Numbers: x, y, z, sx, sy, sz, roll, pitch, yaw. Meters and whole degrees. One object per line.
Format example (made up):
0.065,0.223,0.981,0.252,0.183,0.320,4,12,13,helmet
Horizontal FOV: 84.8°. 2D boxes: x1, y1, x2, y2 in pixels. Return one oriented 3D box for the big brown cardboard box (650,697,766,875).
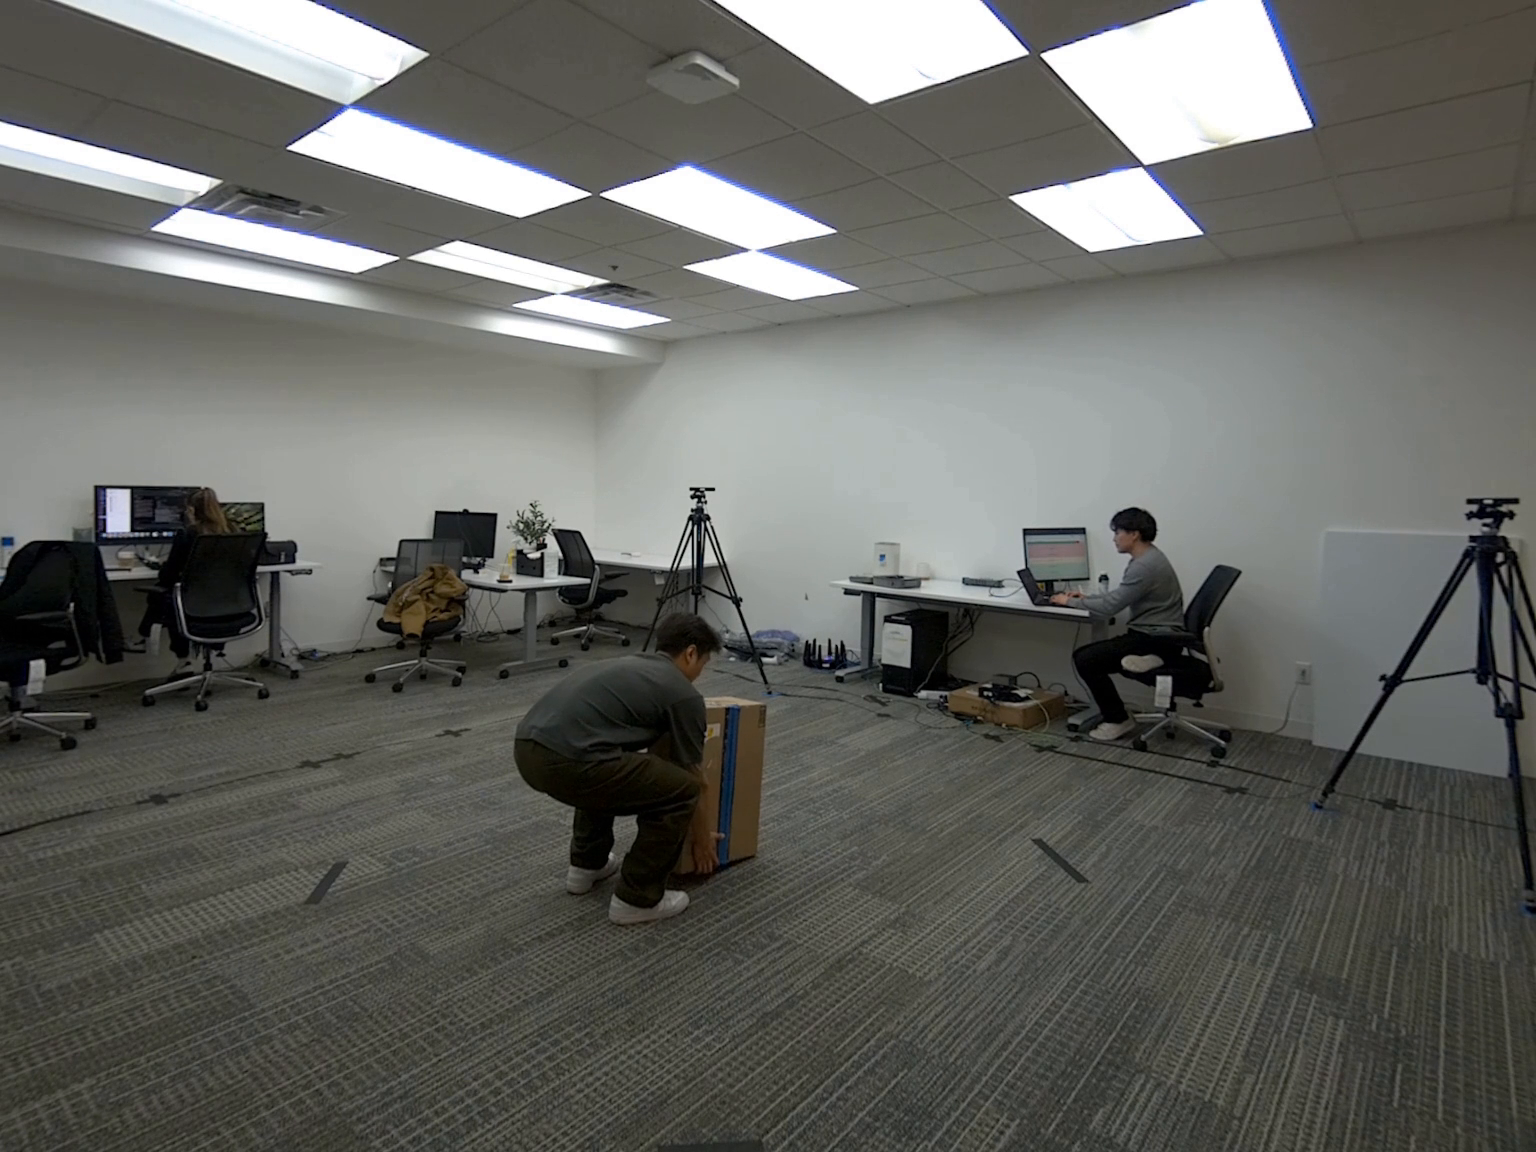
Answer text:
-0.239,0.748,3.162,0.241,0.590,0.403,2,-2,41,big brown cardboard box
